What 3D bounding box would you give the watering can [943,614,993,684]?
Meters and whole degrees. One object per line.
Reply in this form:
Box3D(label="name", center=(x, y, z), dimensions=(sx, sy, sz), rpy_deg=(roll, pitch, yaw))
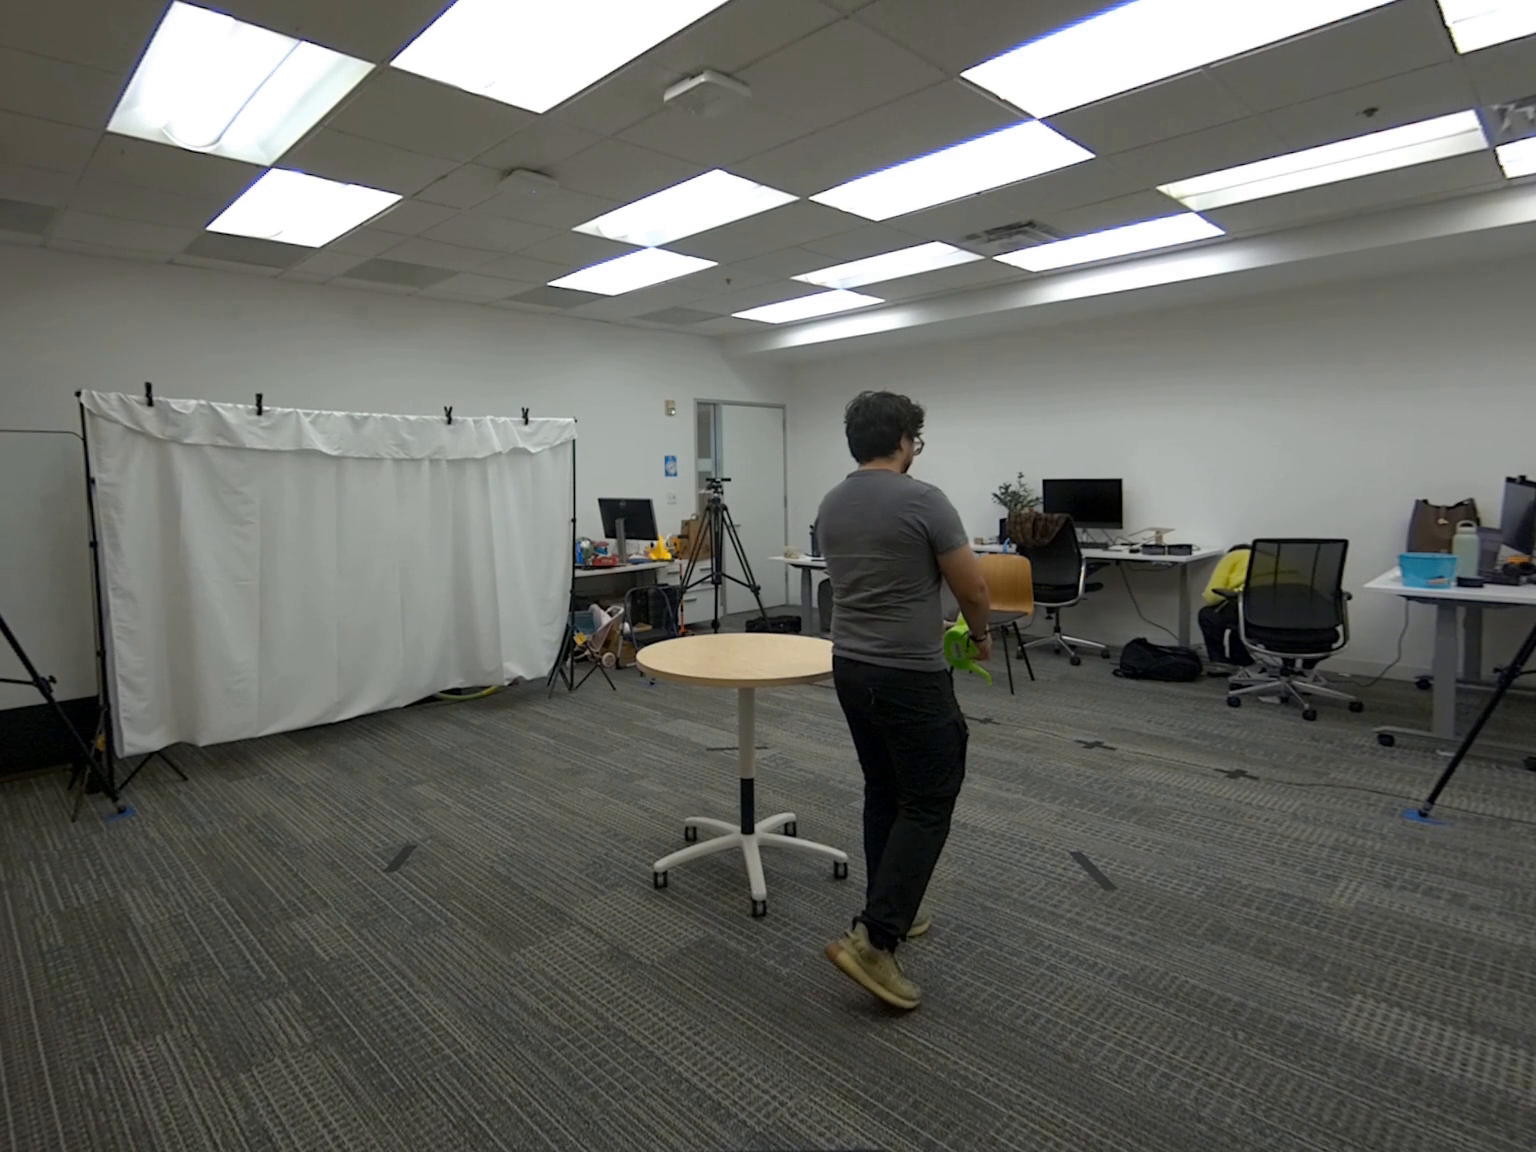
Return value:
Box3D(label="watering can", center=(0.661, 0.243, 2.730), dimensions=(0.099, 0.278, 0.174), rpy_deg=(-25, 2, 42))
